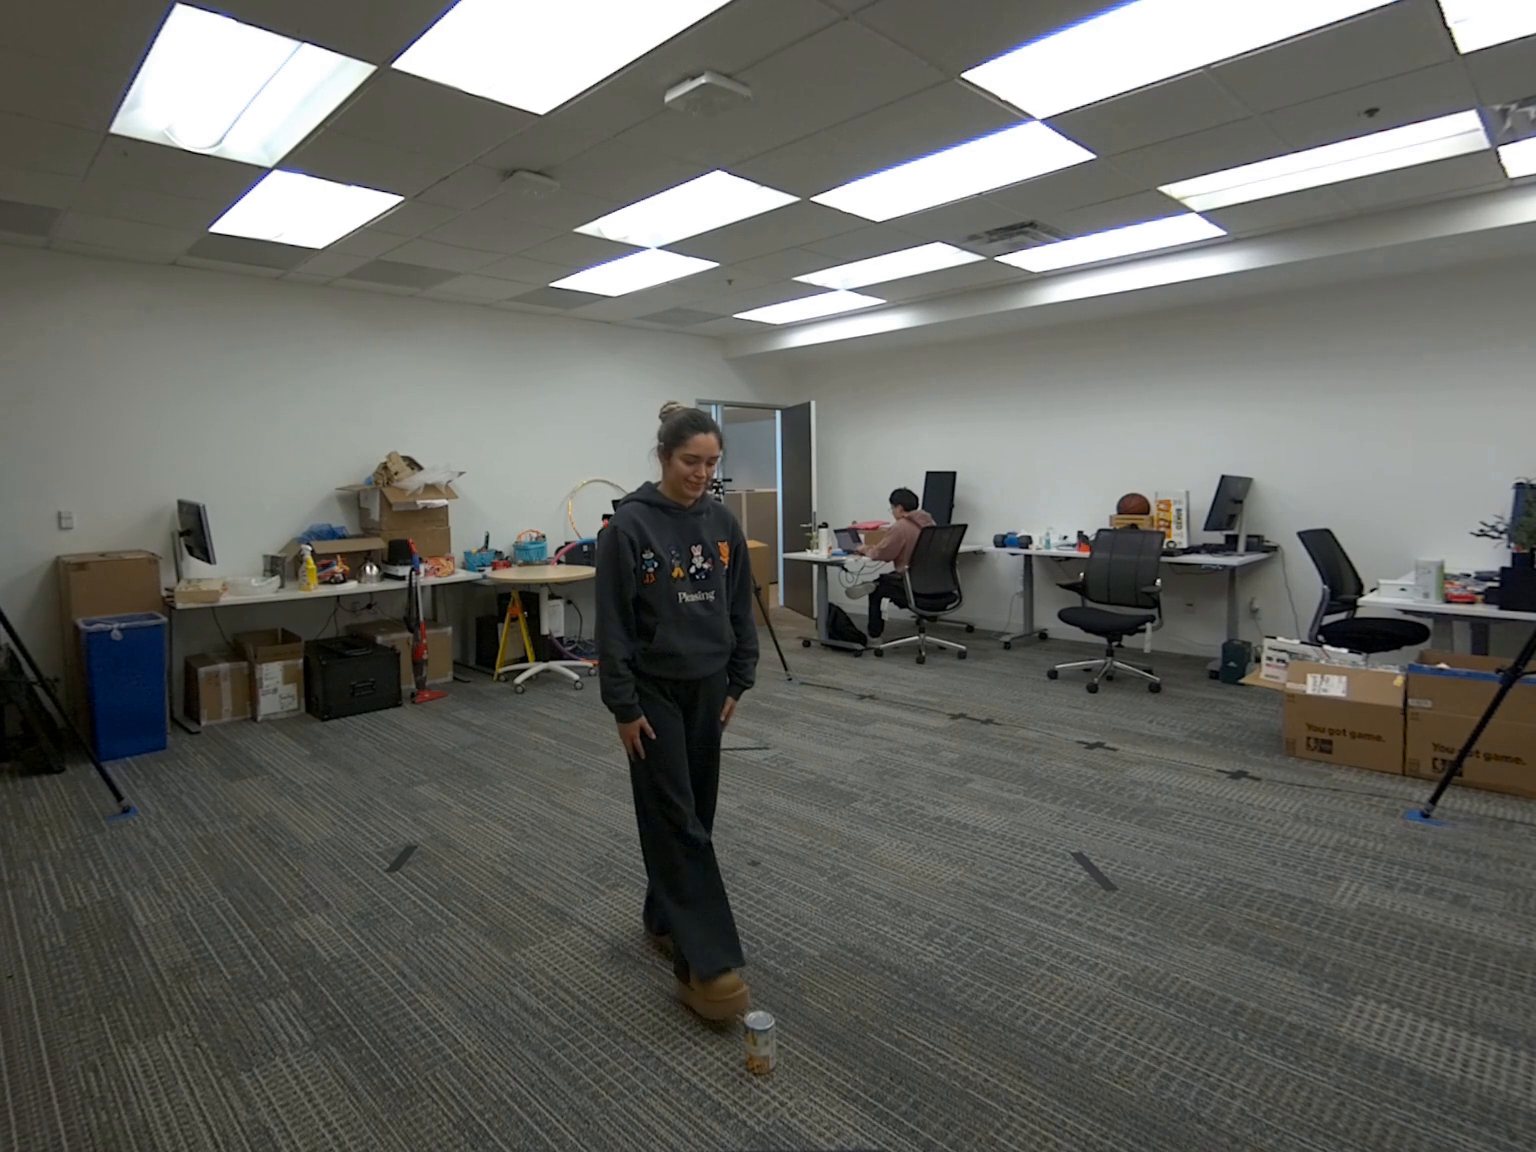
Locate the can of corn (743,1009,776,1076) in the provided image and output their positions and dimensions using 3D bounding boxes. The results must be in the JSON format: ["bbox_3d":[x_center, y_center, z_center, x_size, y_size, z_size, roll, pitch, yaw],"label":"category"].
[{"bbox_3d":[-0.013,1.120,2.025,0.074,0.111,0.074,-1,3,-2],"label":"can of corn"}]
